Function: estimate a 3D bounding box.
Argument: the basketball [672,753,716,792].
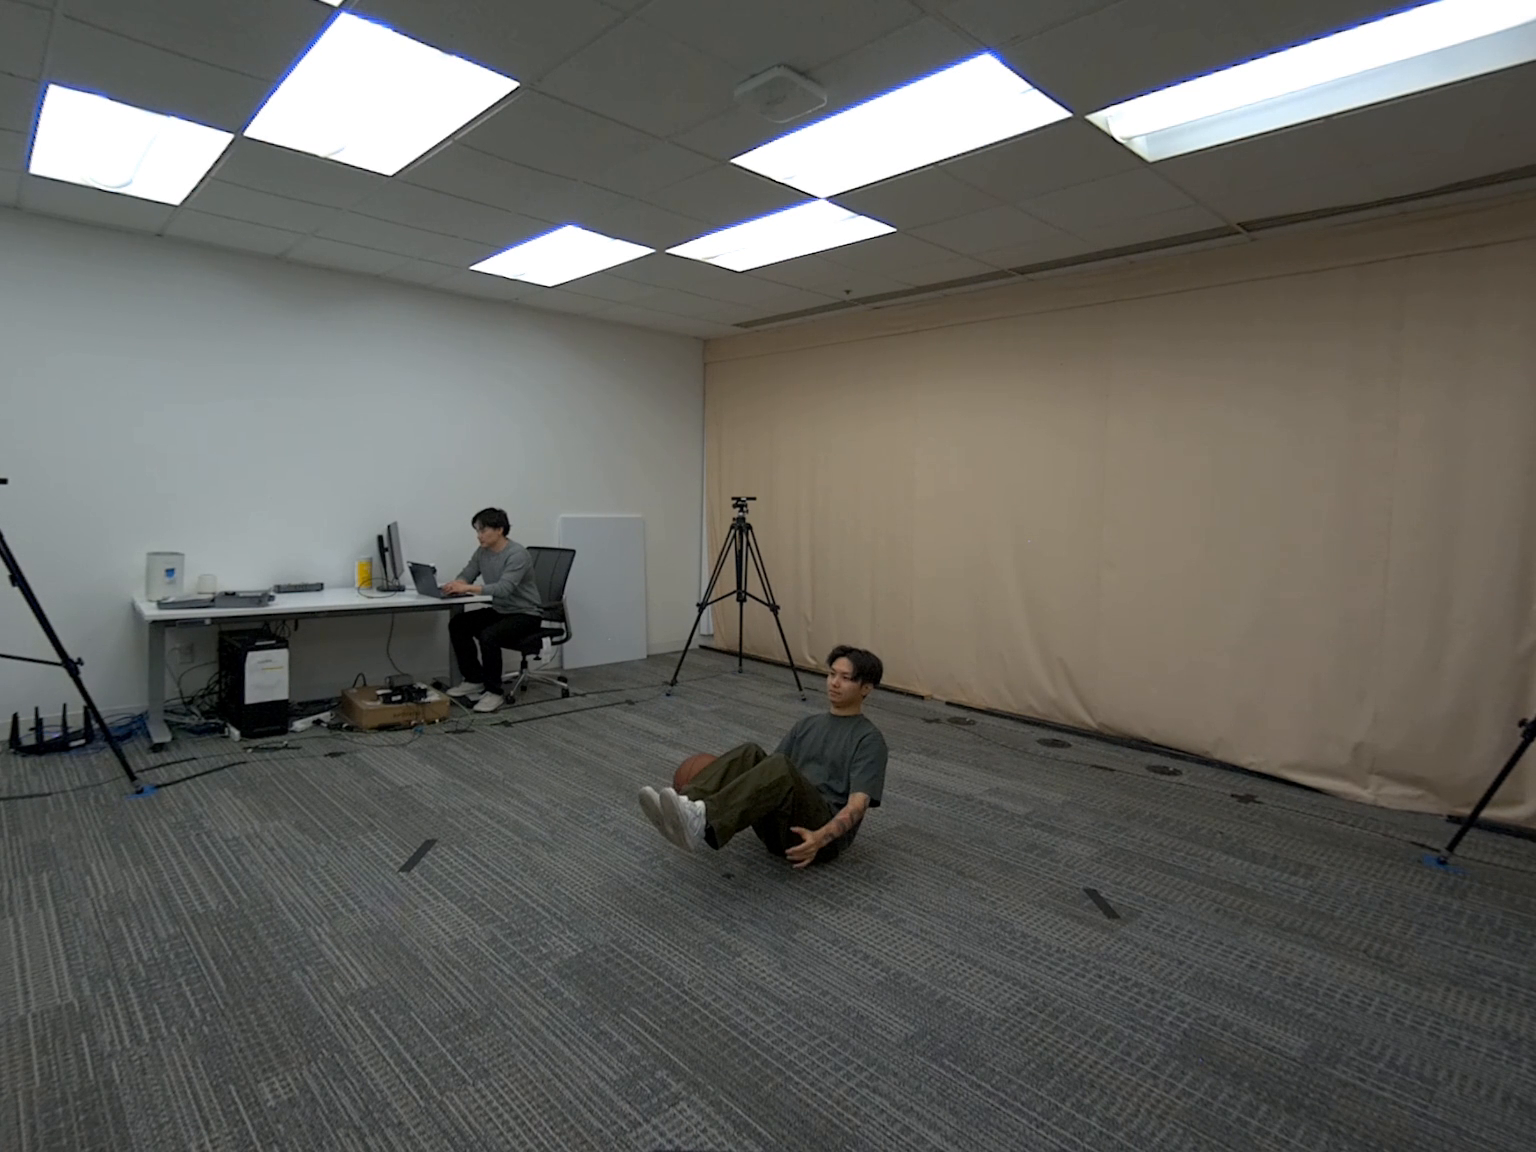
[{"bbox_3d":[-0.251,0.821,3.324,0.236,0.235,0.237,1,4,-1],"label":"basketball"}]
